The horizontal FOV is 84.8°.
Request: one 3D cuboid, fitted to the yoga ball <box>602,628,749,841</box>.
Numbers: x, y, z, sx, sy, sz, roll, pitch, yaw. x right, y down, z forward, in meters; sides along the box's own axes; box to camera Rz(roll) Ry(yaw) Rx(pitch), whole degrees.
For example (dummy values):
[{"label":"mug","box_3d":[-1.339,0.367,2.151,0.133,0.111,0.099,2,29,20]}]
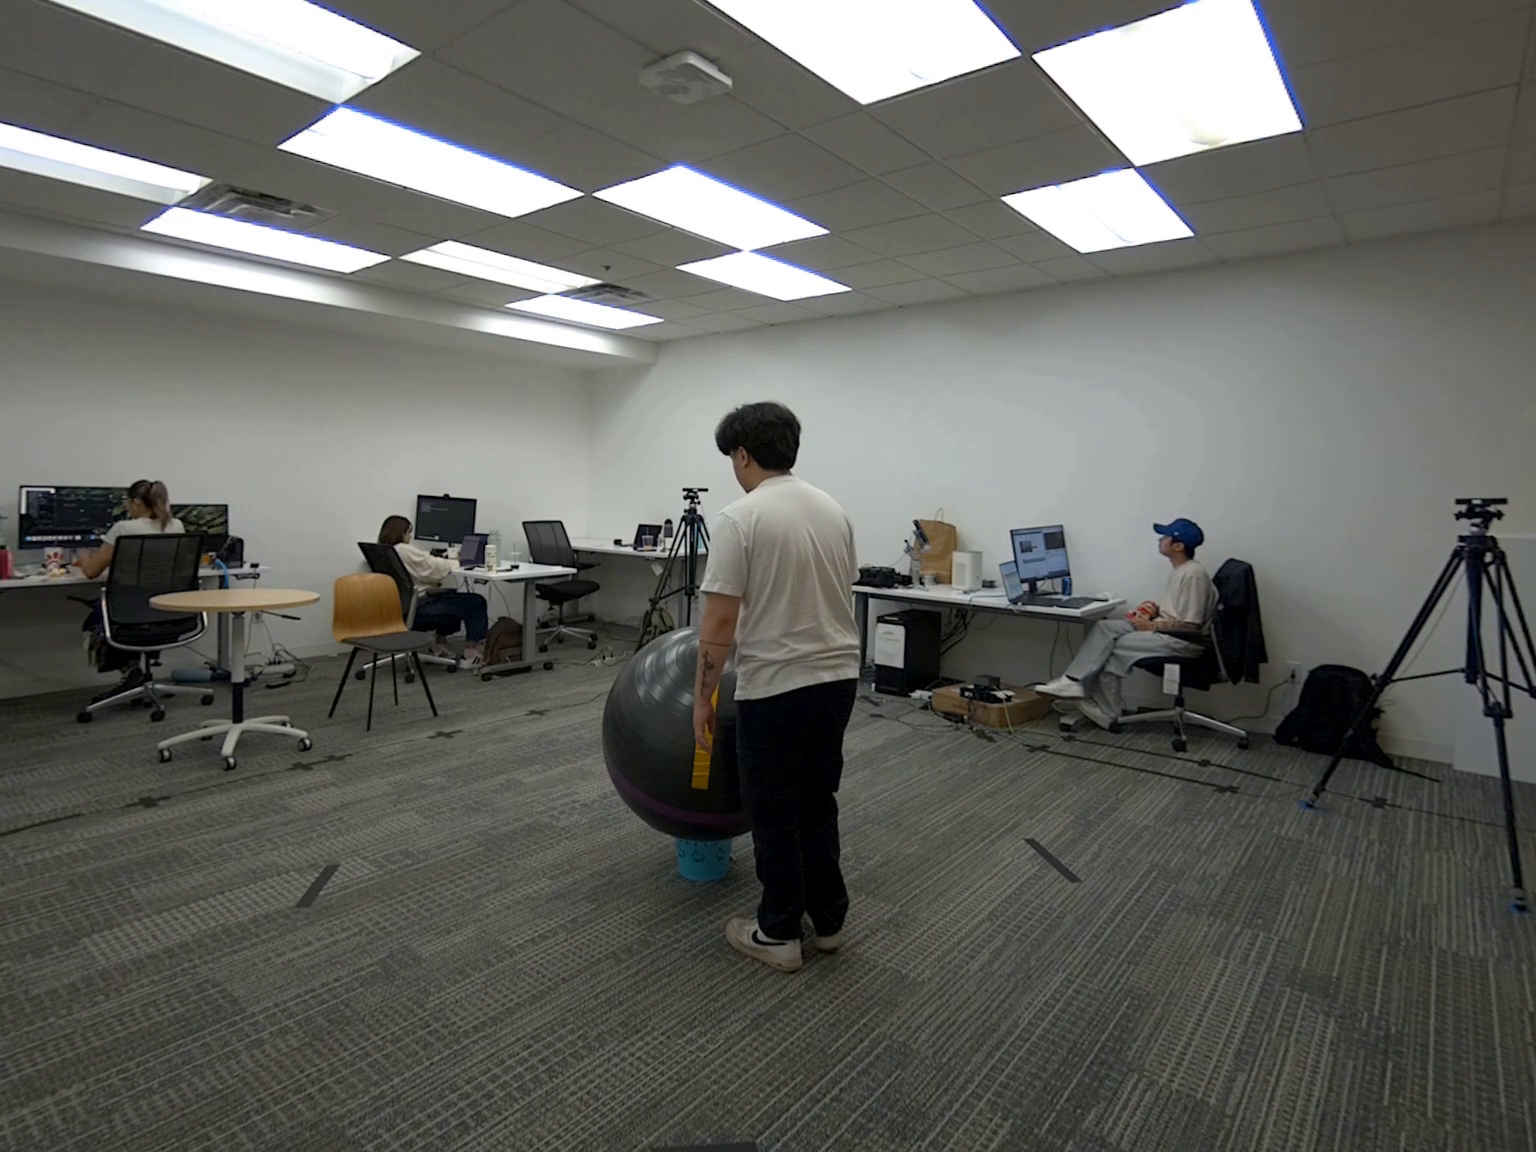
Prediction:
[{"label":"yoga ball","box_3d":[-0.225,0.560,3.085,0.757,0.756,0.761,1,4,-2]}]
